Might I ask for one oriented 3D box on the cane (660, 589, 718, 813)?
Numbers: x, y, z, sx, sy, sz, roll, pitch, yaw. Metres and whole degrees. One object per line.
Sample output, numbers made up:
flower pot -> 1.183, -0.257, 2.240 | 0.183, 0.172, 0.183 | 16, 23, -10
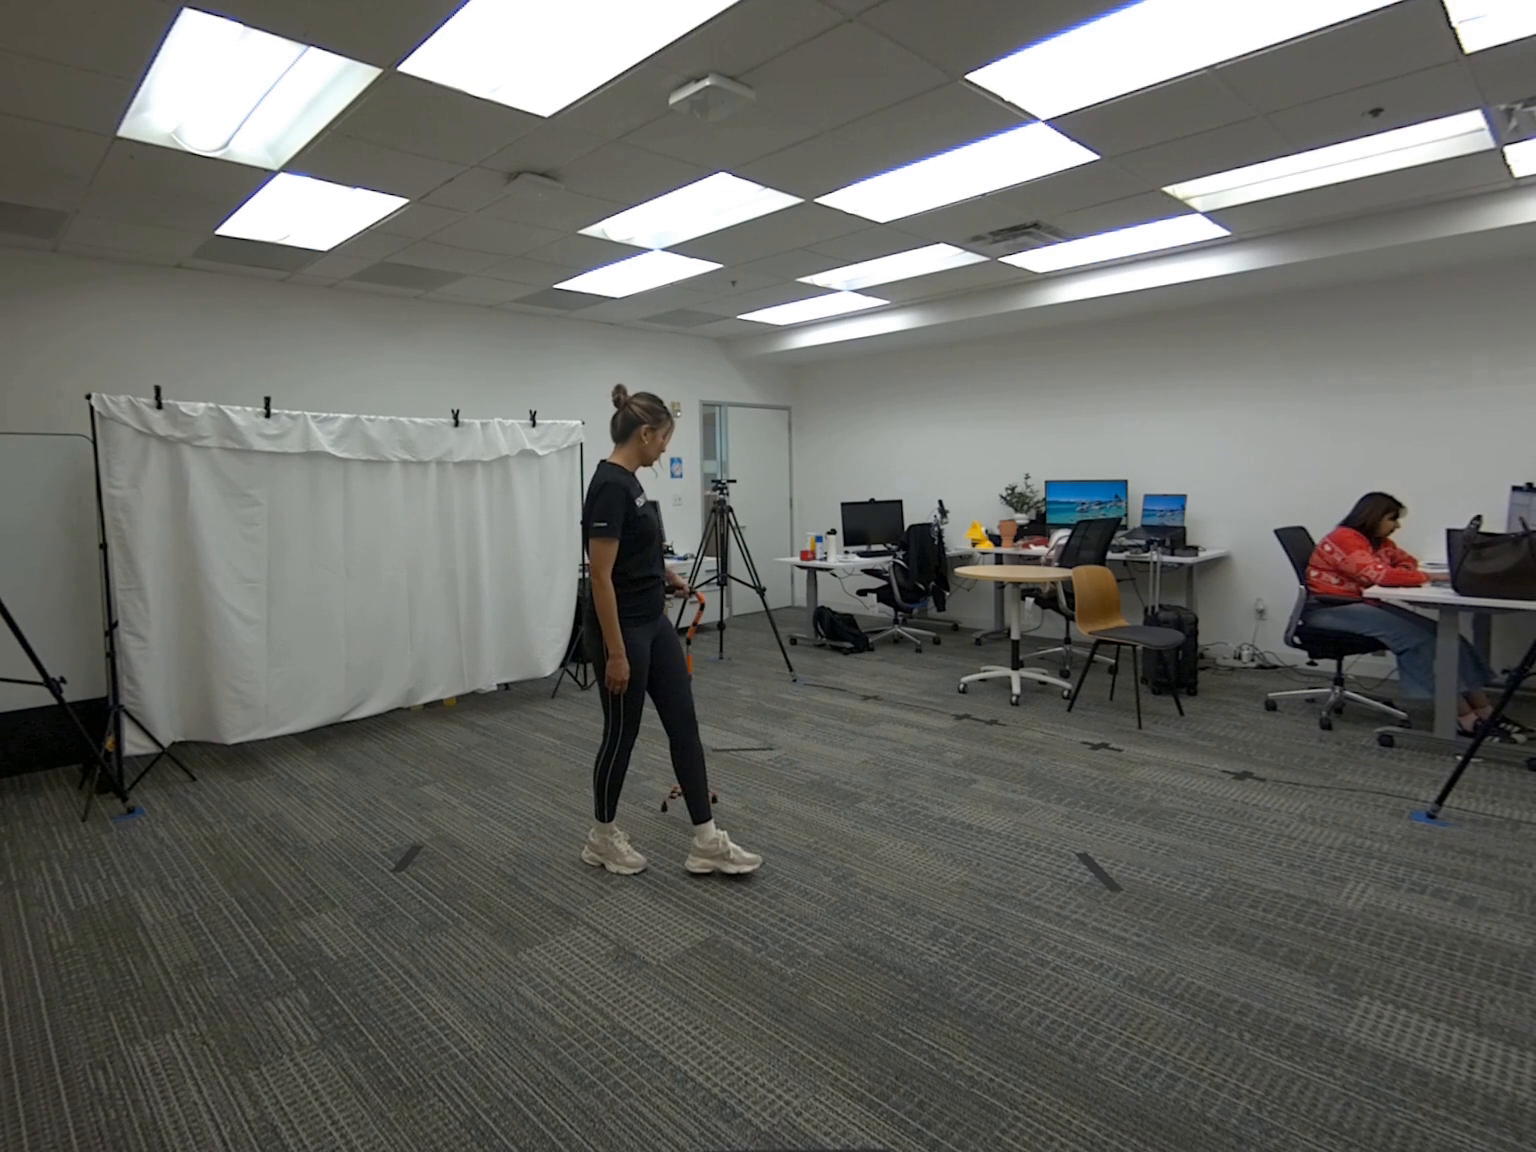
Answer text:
cane -> -0.314, 0.497, 3.431 | 0.209, 0.901, 0.151 | 2, 8, 11
